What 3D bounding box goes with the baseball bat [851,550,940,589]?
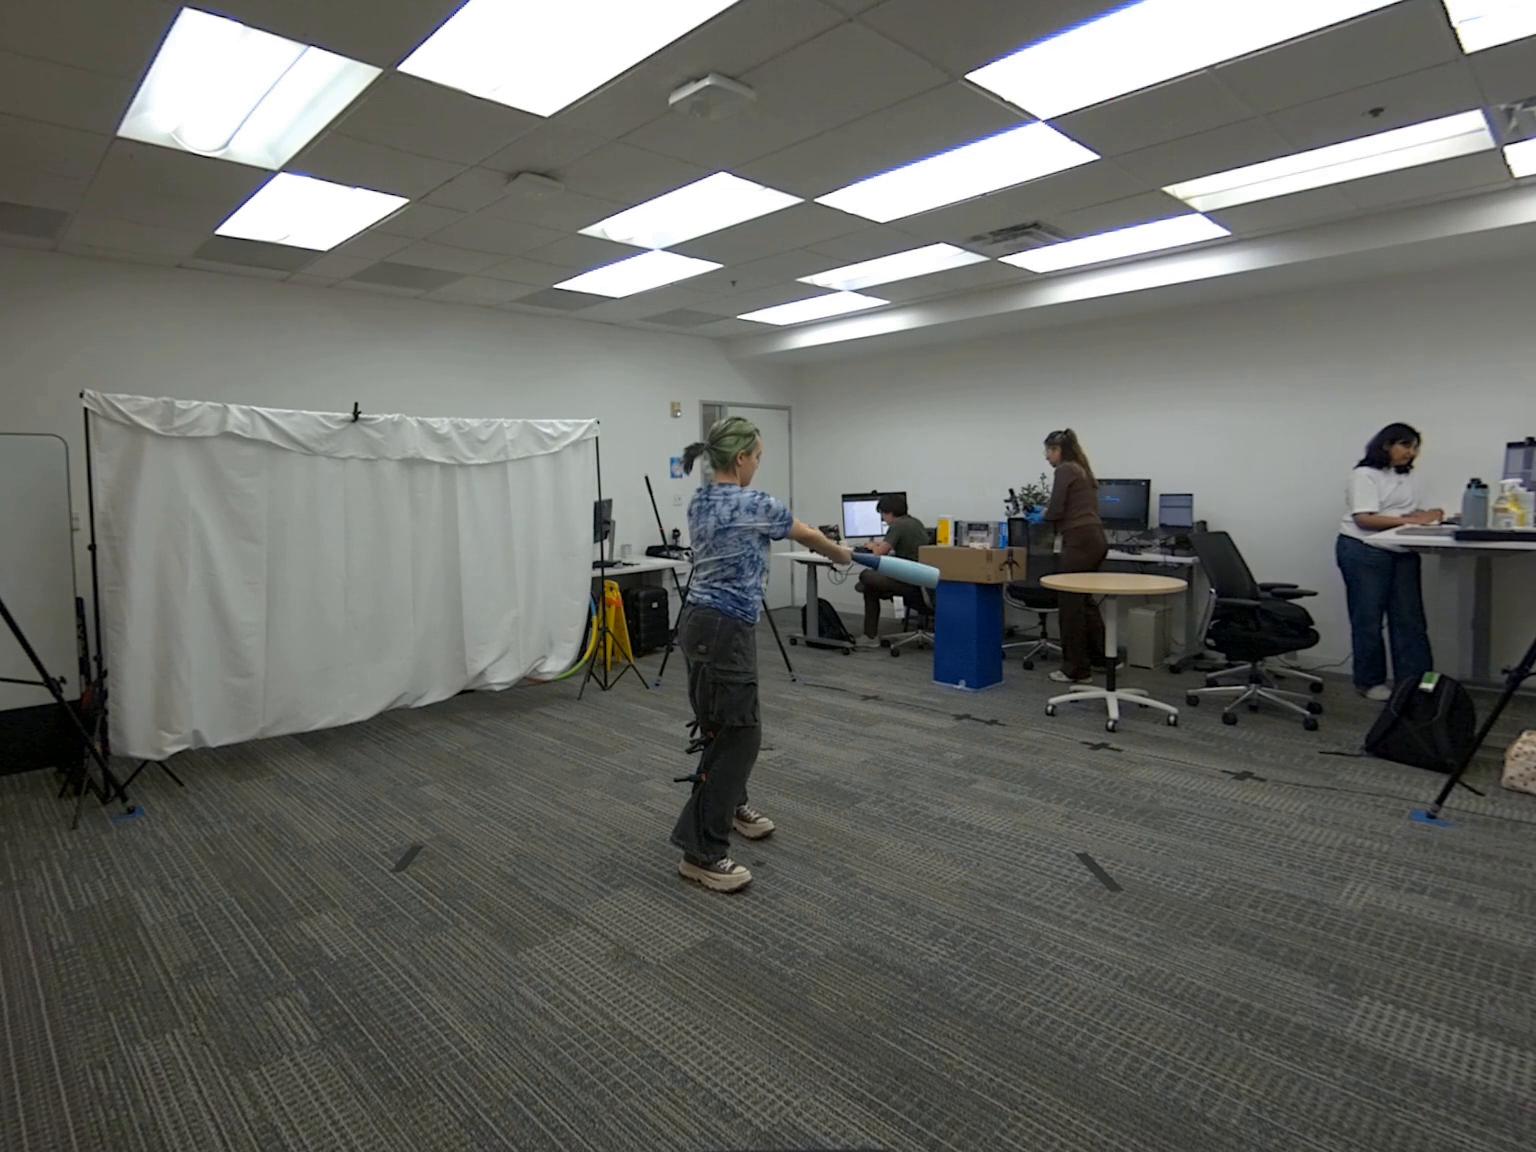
[{"bbox_3d":[0.438,-0.037,3.531,0.548,0.089,0.088,14,6,8],"label":"baseball bat"}]
